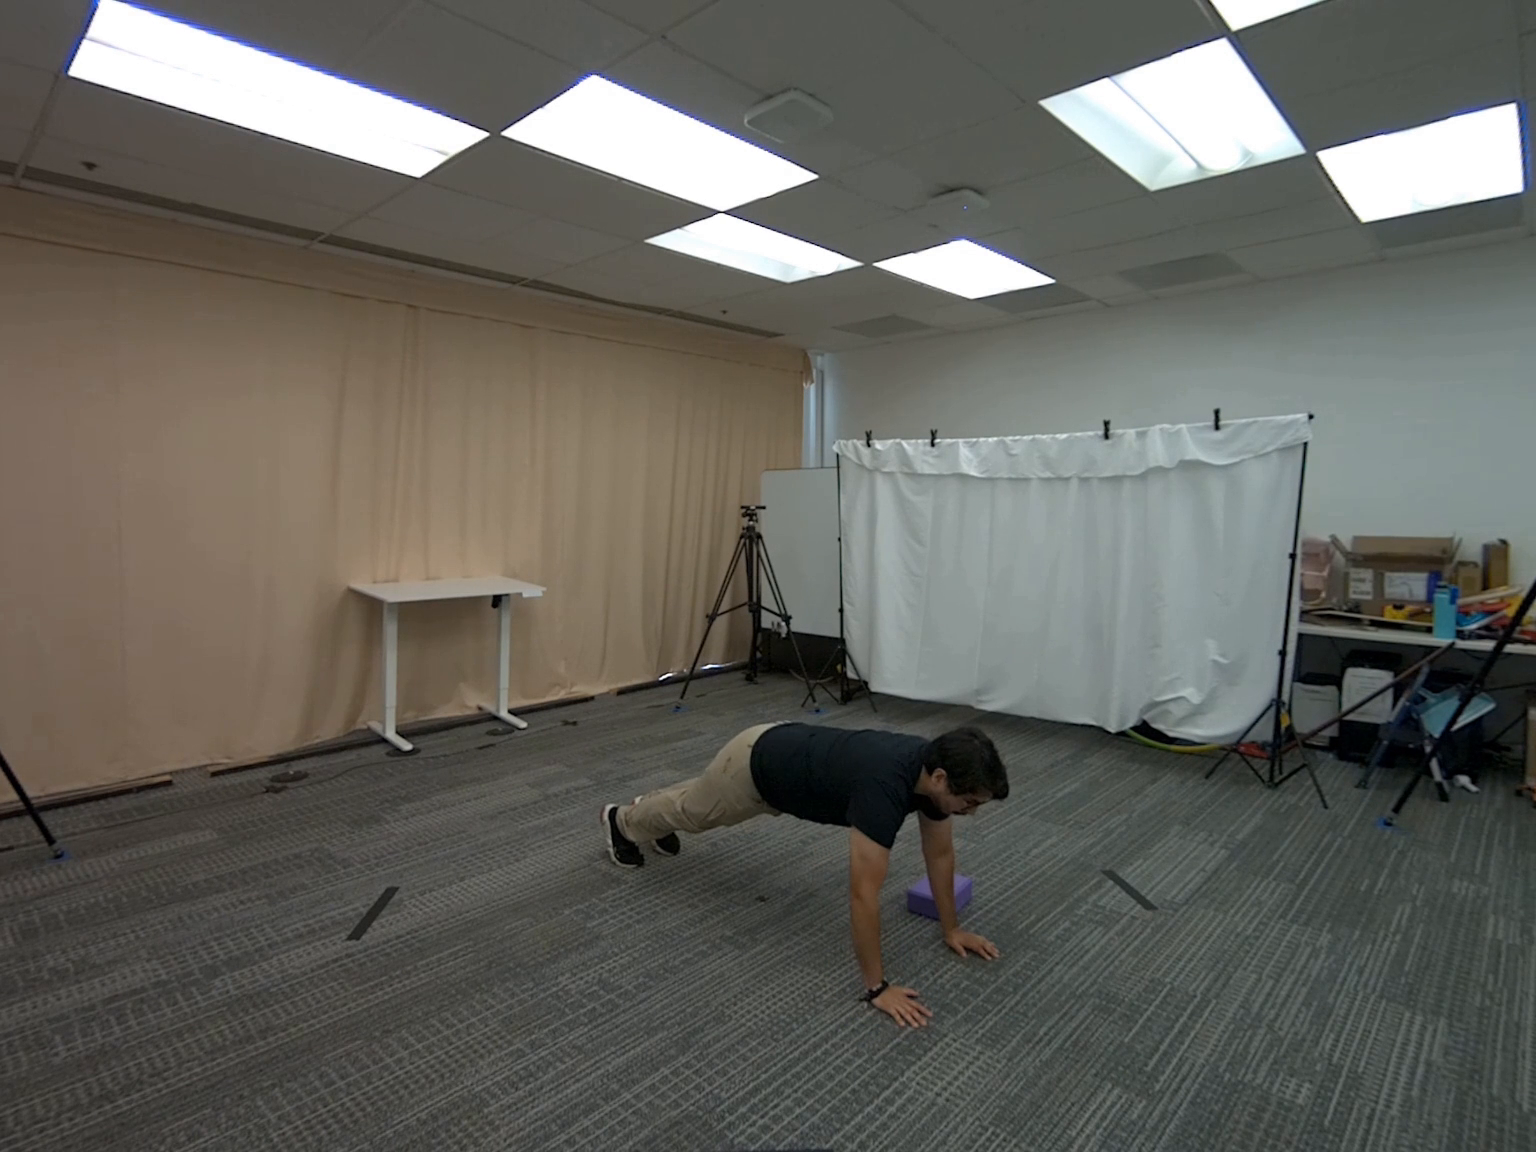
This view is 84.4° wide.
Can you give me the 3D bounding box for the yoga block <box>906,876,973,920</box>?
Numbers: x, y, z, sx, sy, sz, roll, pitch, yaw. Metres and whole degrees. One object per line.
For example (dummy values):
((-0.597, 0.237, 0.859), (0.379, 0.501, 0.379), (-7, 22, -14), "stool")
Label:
((0.607, 1.108, 2.920), (0.154, 0.076, 0.223), (5, 6, 36), "yoga block")
